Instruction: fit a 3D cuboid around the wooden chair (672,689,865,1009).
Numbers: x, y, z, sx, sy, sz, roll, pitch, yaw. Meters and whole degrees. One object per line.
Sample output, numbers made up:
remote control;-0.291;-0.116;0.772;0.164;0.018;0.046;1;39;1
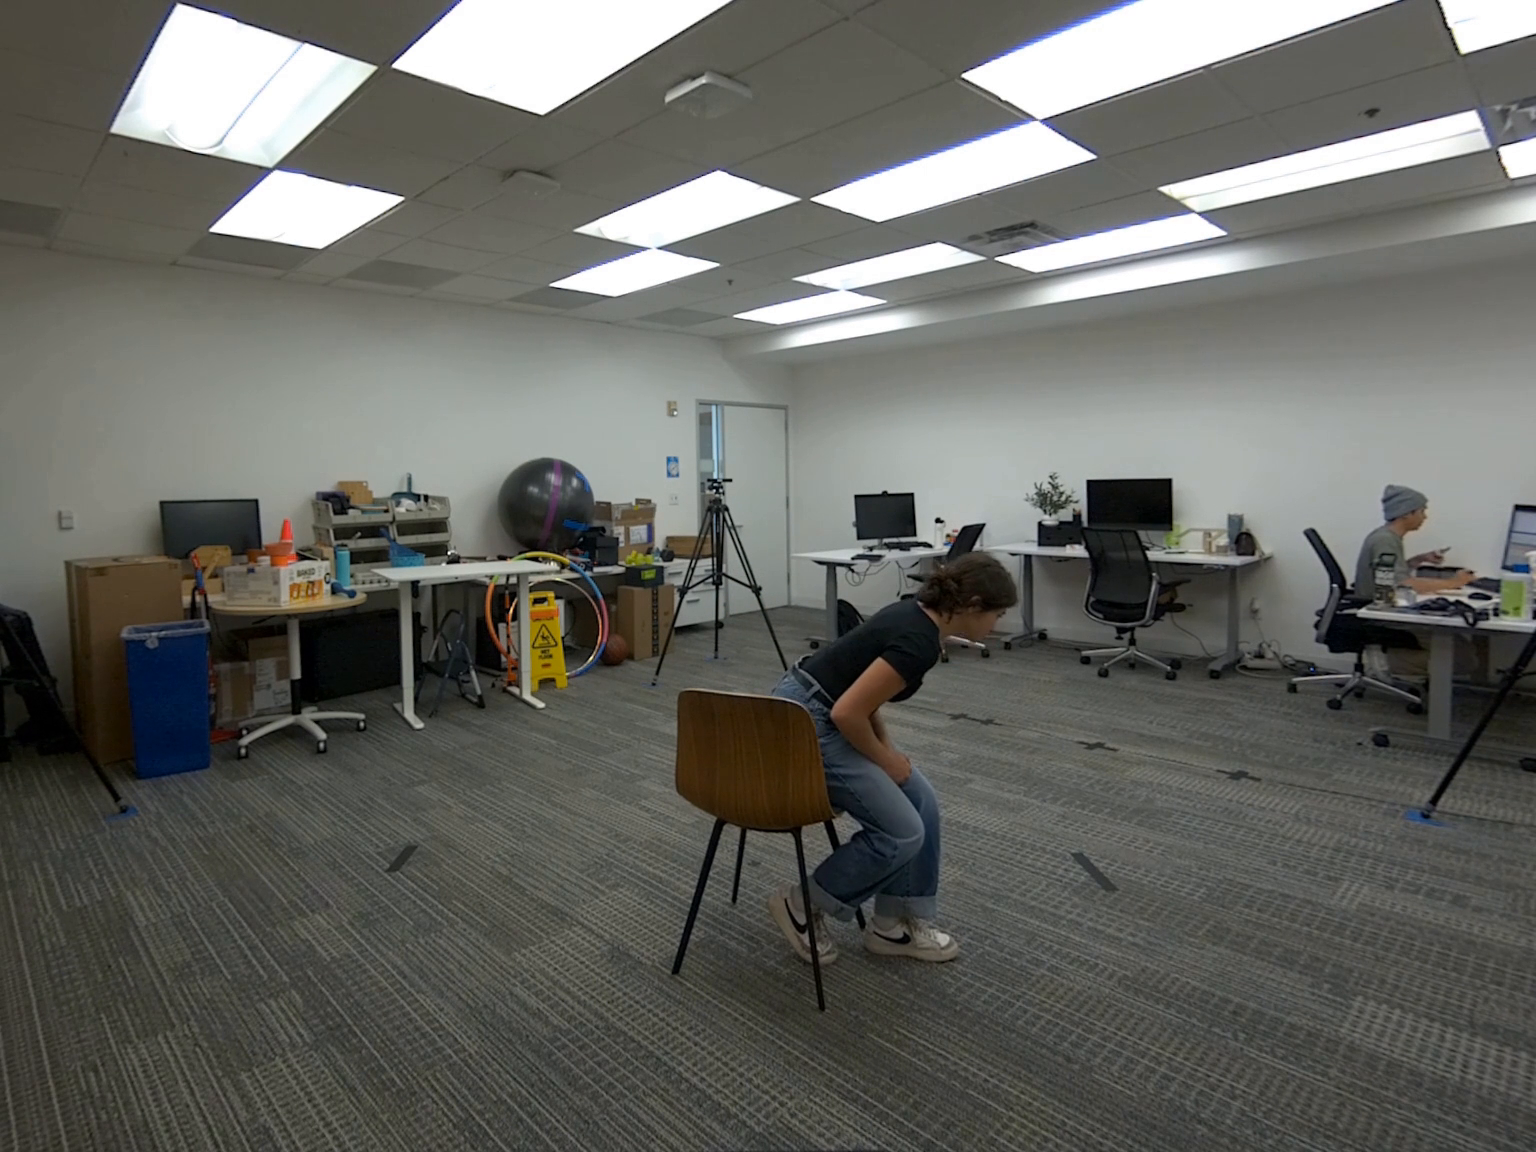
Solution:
wooden chair;0.008;0.689;2.511;0.488;0.870;0.516;2;9;22
